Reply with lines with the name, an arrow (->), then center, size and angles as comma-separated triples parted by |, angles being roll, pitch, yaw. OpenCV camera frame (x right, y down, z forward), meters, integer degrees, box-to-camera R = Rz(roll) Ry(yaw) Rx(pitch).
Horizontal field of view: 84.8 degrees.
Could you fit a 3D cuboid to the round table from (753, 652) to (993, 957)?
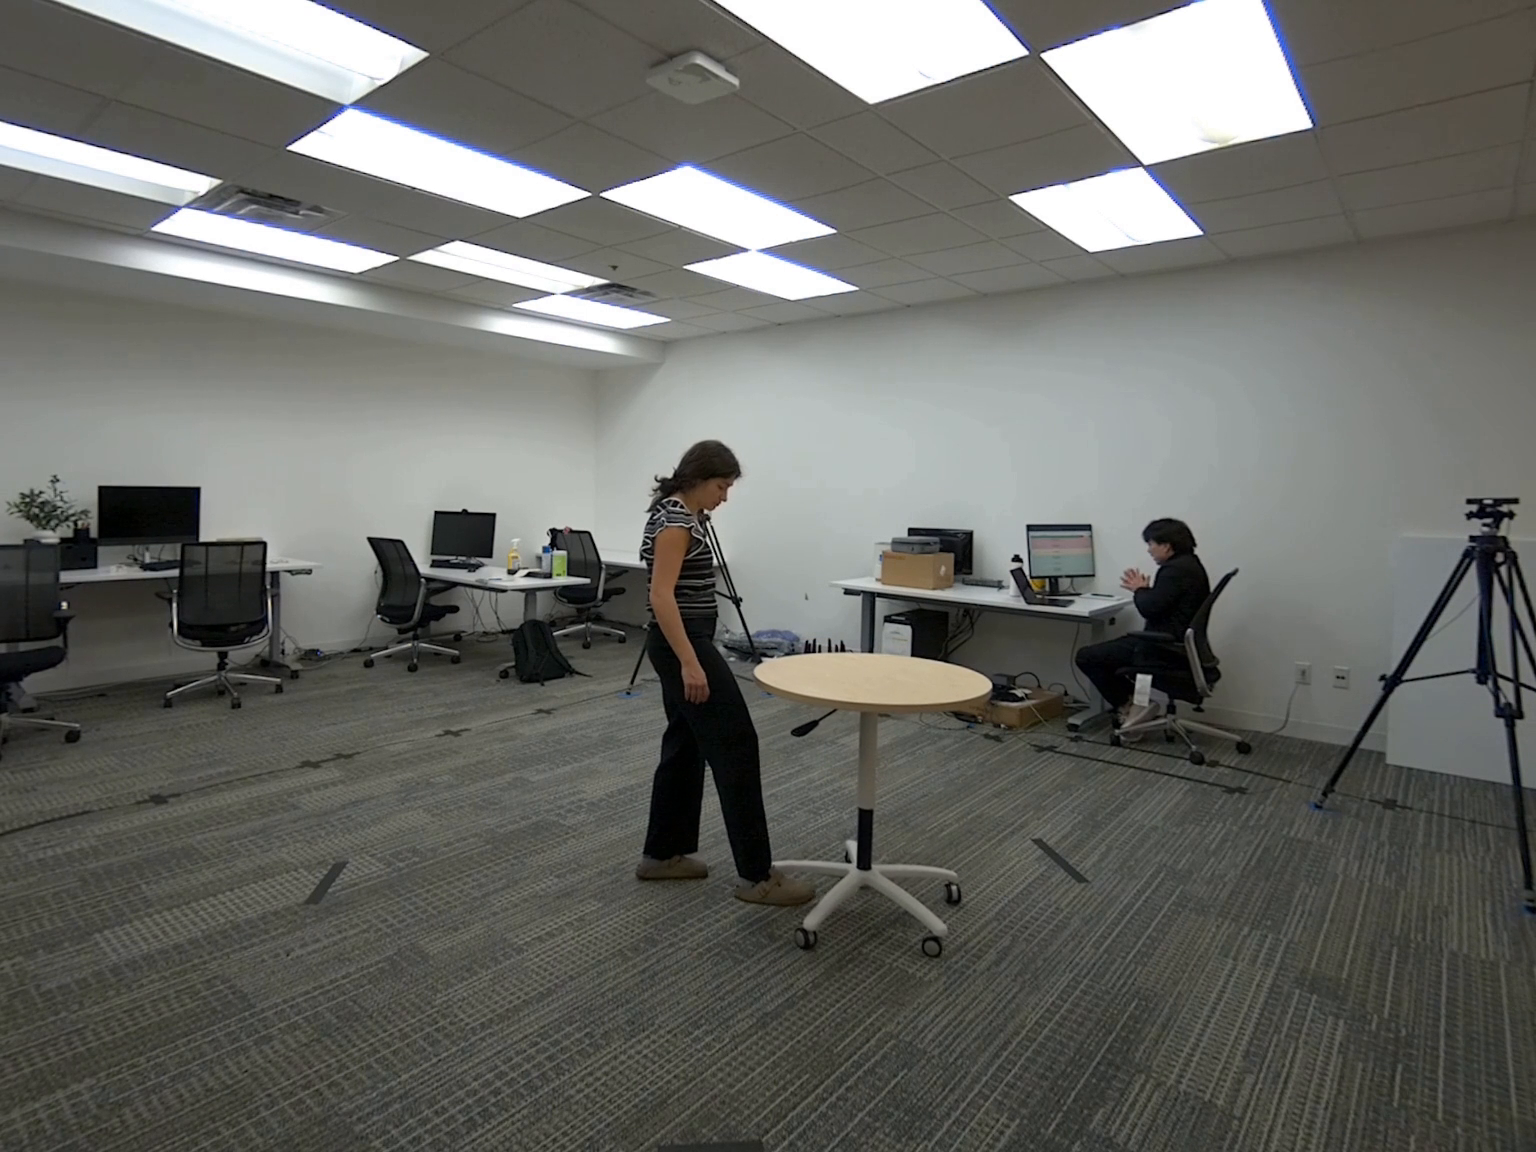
round table -> 0.331, 0.712, 2.817 | 0.784, 0.783, 0.789 | 1, 5, -2
